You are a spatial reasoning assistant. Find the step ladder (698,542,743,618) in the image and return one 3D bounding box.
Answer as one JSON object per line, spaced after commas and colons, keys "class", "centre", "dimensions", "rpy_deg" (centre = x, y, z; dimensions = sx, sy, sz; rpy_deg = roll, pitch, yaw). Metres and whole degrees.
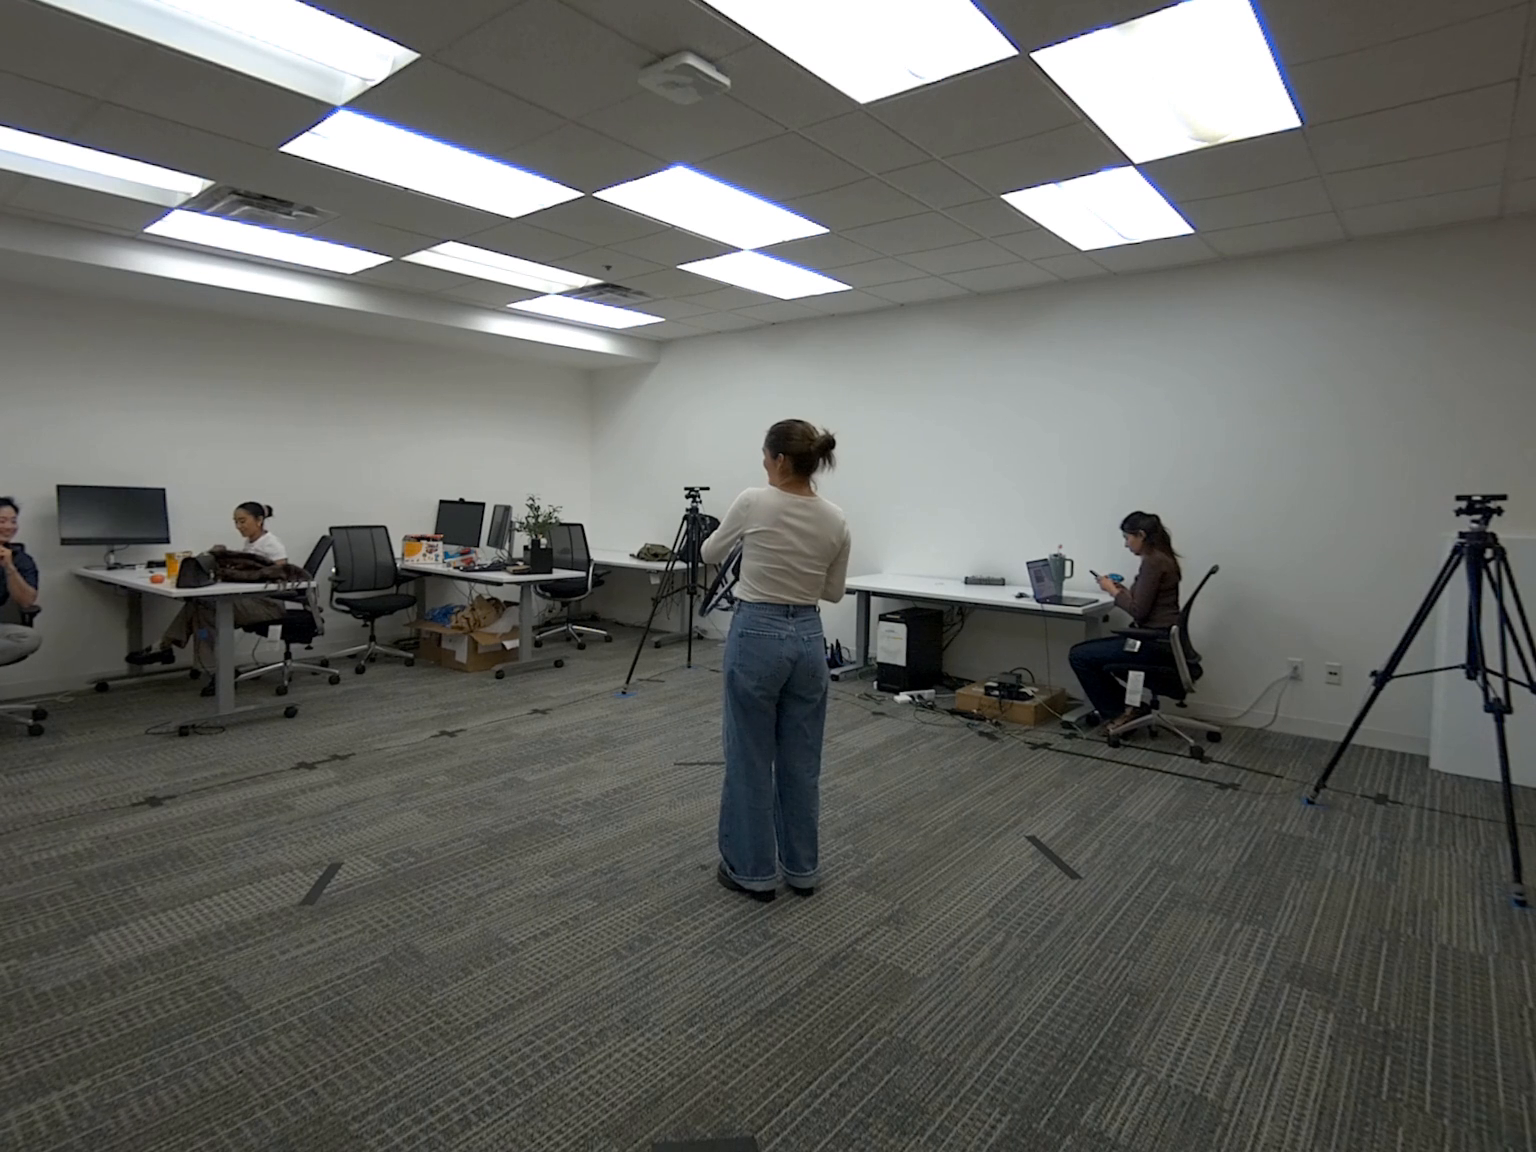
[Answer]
{"class": "step ladder", "centre": [-0.073, -0.069, 3.388], "dimensions": [0.593, 0.425, 0.361], "rpy_deg": [-20, 56, -43]}
